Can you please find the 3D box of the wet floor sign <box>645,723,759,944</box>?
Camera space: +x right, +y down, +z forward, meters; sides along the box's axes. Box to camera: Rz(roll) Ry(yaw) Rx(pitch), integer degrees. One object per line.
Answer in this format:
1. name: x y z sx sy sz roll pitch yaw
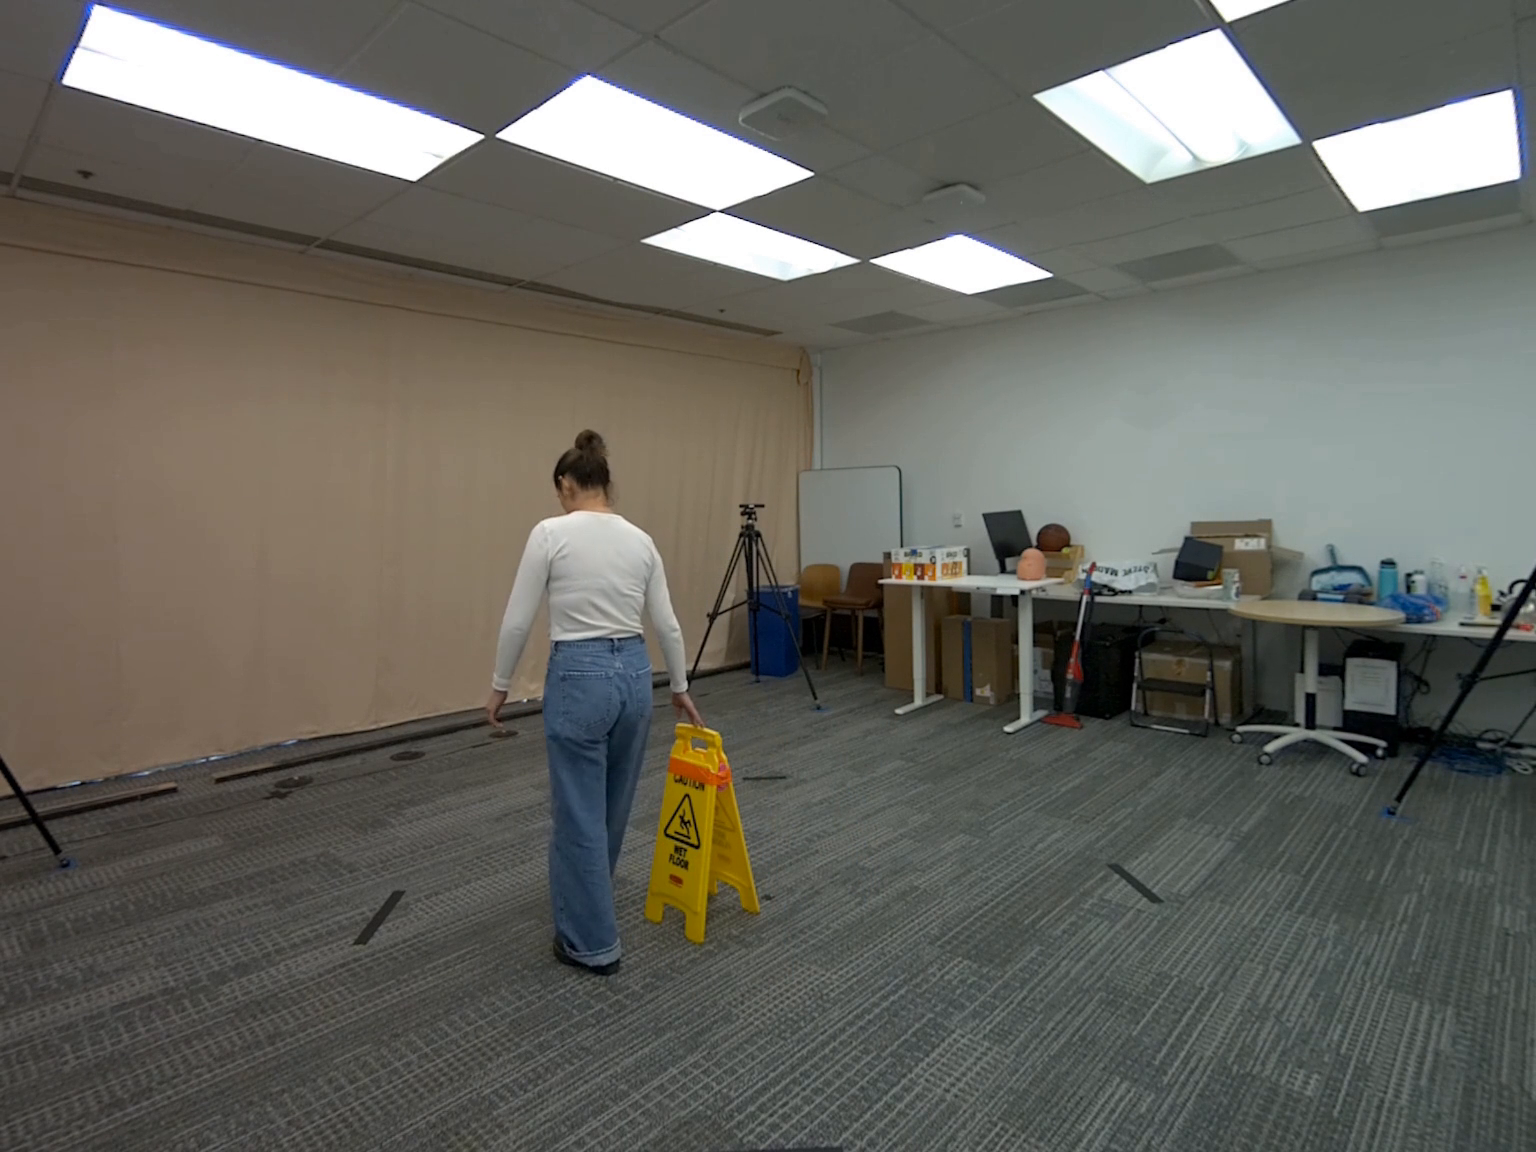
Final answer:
1. wet floor sign: -0.230 0.832 2.845 0.291 0.645 0.281 2 4 43
